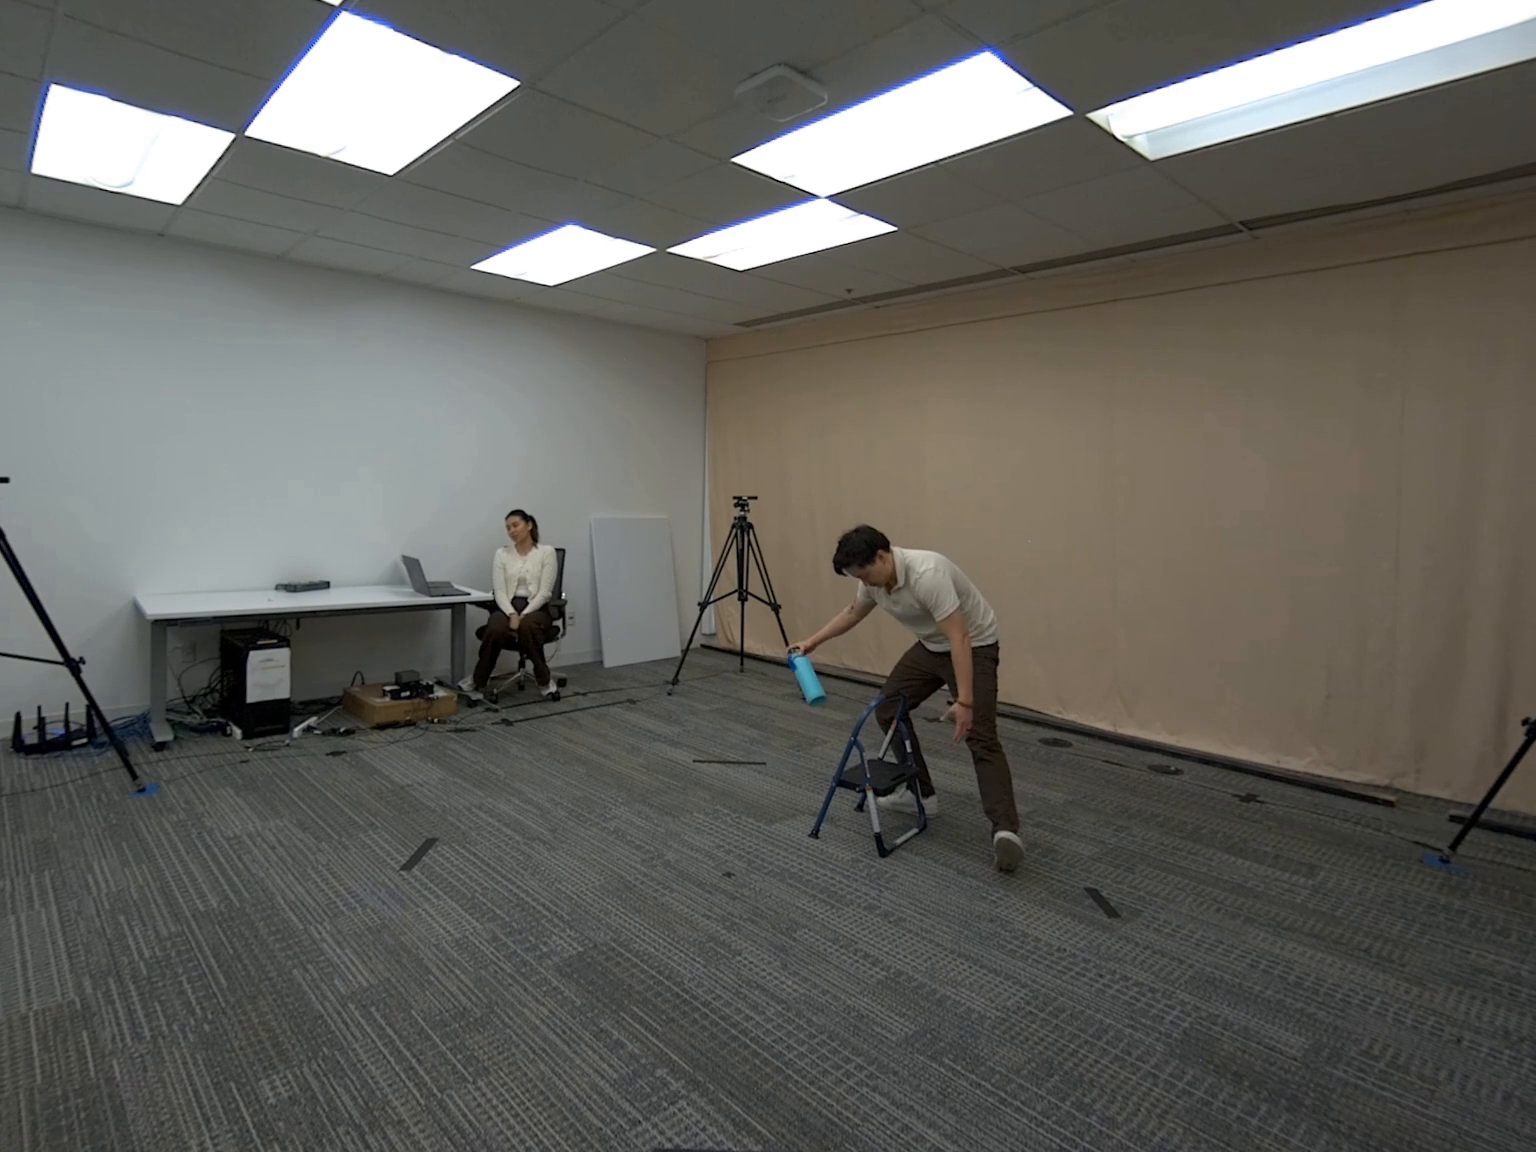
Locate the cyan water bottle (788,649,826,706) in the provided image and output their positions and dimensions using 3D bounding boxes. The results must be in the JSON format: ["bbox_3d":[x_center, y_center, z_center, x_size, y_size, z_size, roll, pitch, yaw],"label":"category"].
[{"bbox_3d":[0.188,0.472,3.858,0.090,0.091,0.292,-1,47,-26],"label":"cyan water bottle"}]
